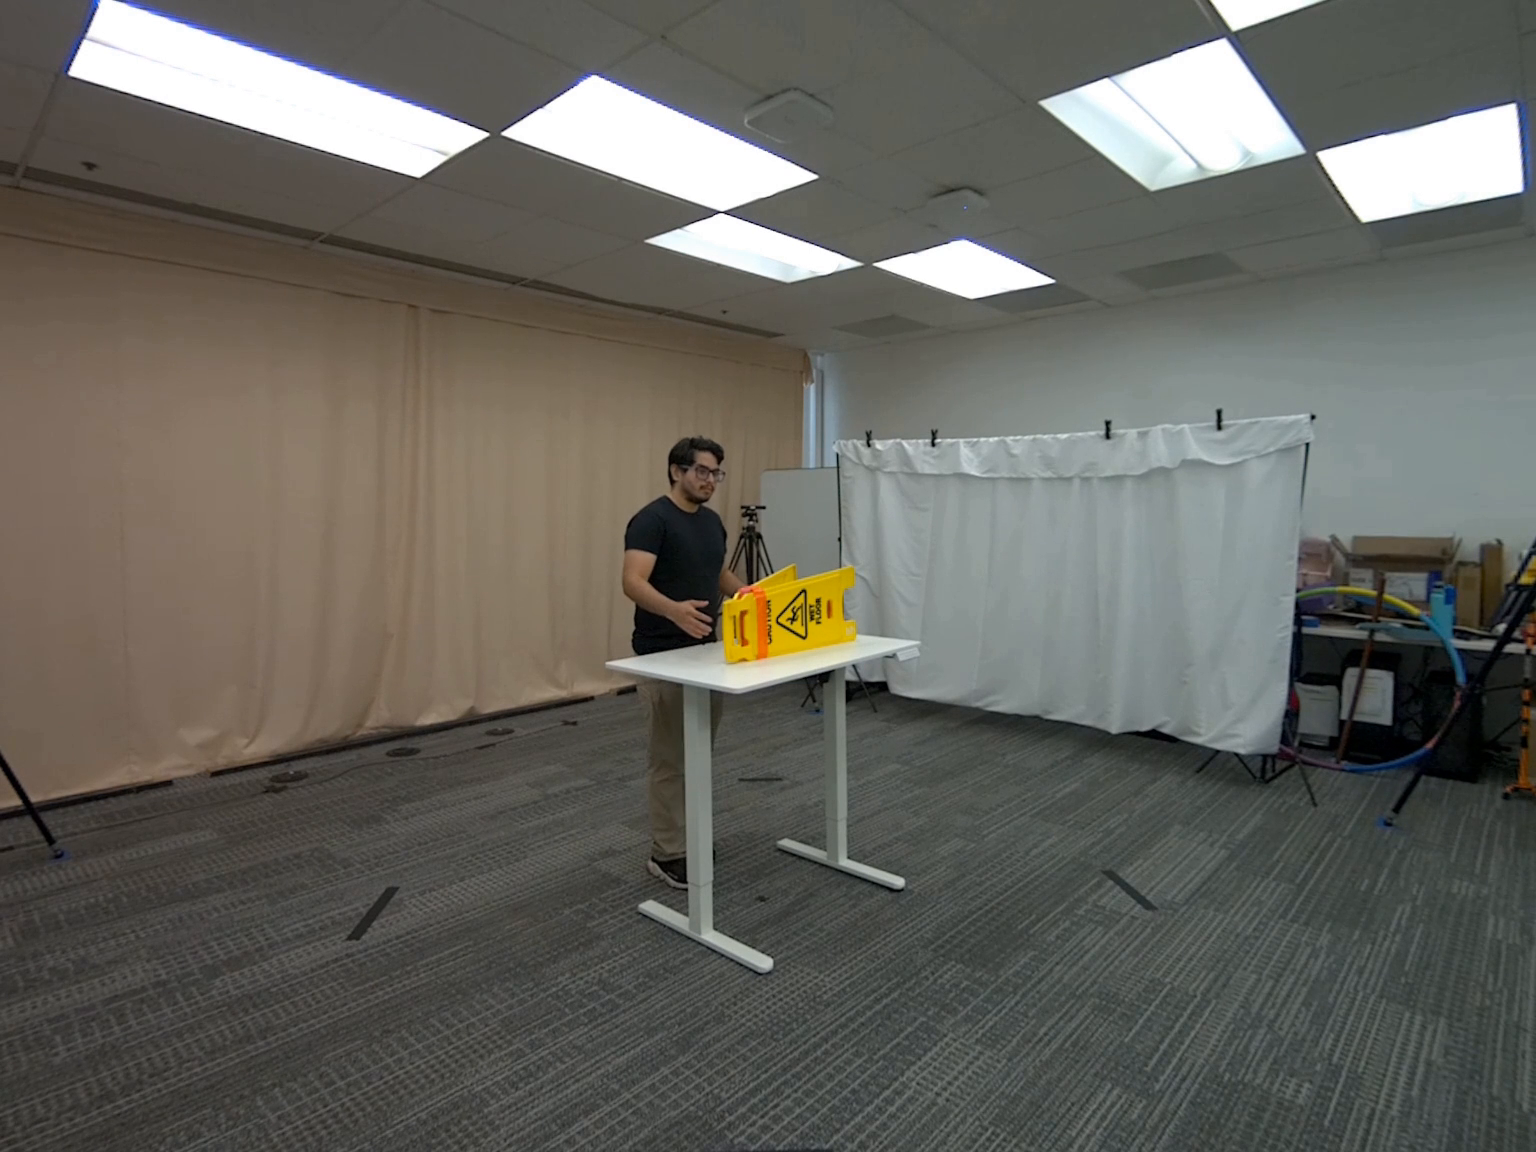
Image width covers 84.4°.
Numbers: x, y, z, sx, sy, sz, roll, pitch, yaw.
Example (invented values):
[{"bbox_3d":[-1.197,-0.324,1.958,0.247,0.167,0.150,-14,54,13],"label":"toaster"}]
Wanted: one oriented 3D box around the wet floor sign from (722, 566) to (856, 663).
[{"bbox_3d":[0.048,0.140,2.951,0.299,0.281,0.629,3,9,34],"label":"wet floor sign"}]
